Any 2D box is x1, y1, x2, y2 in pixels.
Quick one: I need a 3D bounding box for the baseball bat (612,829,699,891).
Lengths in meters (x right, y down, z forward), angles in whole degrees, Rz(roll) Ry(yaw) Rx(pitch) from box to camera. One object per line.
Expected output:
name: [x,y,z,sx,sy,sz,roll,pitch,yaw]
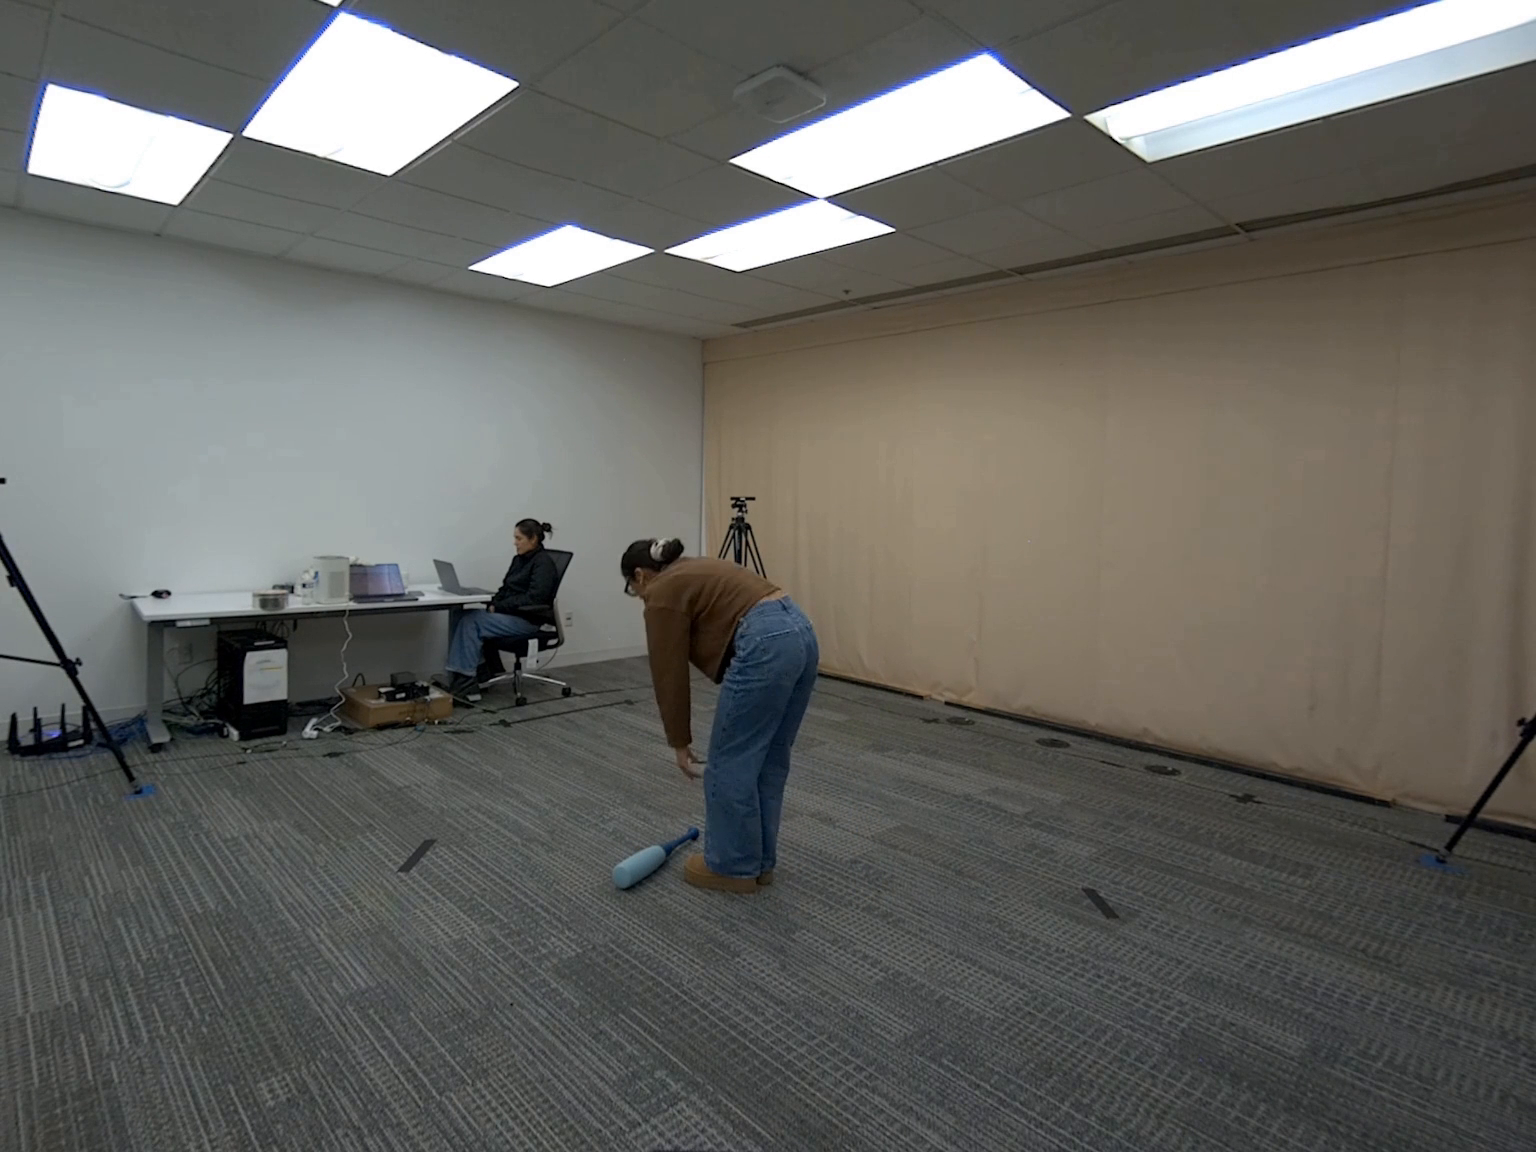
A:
baseball bat: [-0.411,1.053,3.200,0.091,0.089,0.533,3,3,25]
